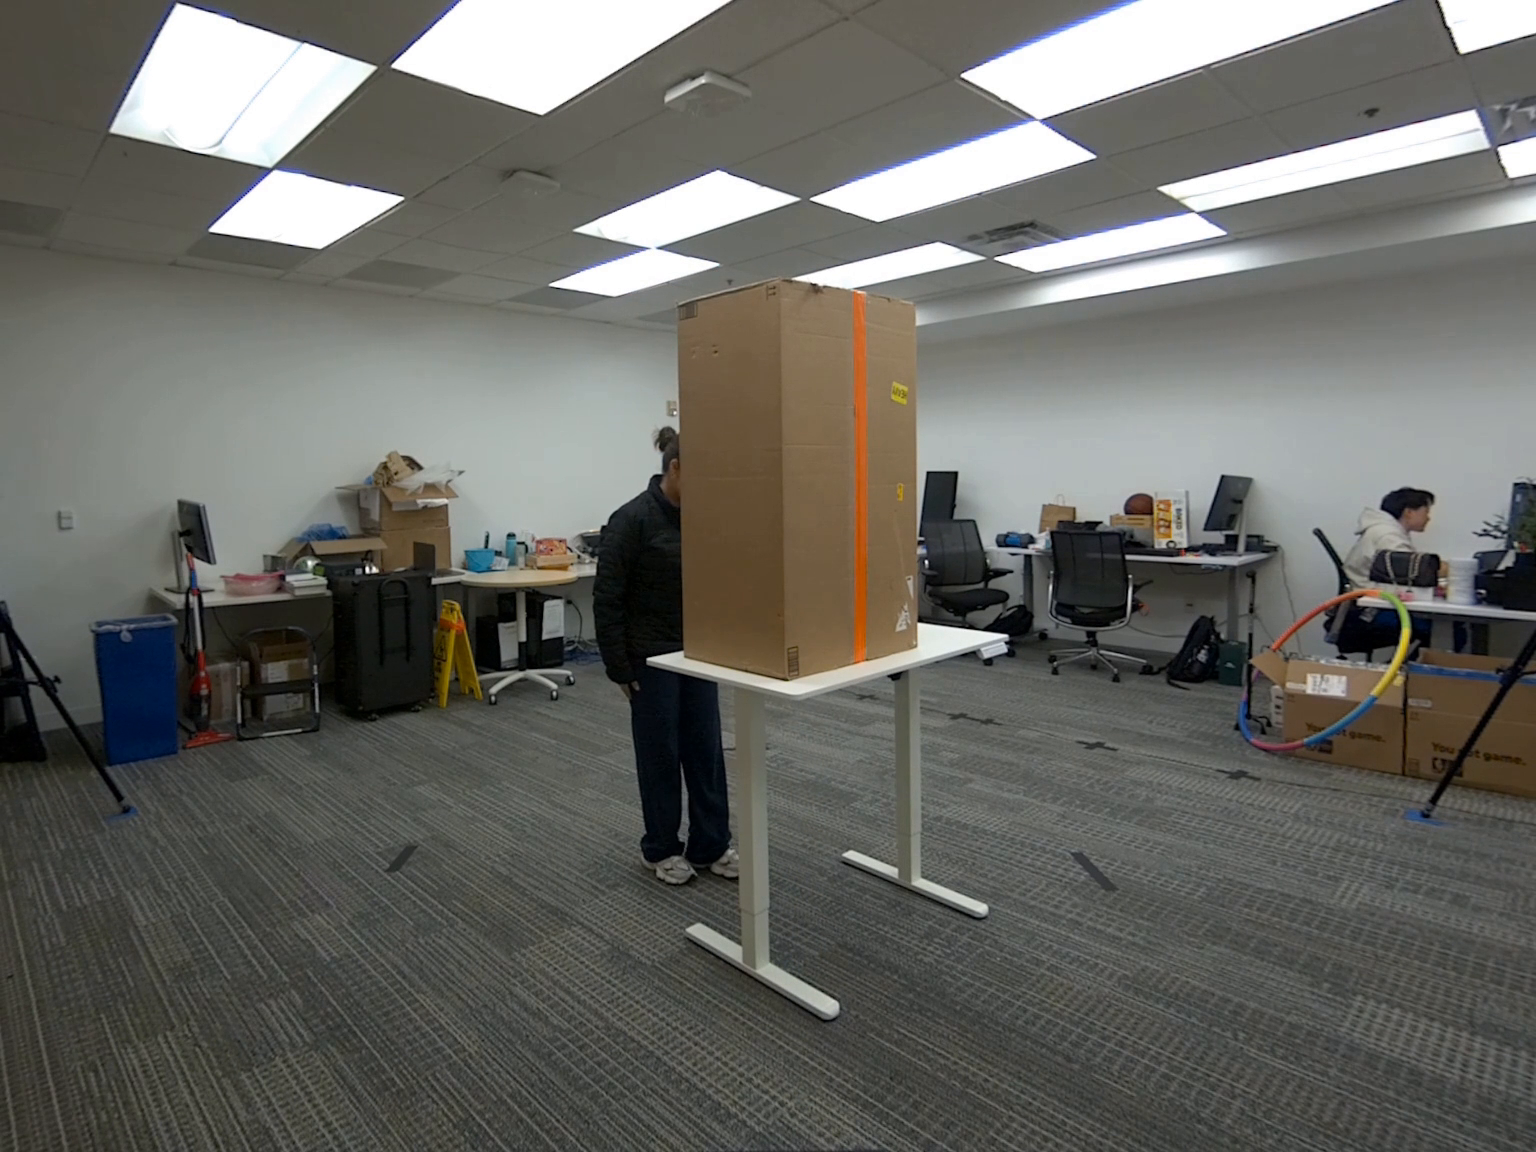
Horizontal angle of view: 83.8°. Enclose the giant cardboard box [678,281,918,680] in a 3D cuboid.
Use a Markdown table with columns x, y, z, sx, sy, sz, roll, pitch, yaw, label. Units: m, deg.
| x | y | z | sx | sy | sz | roll | pitch | yaw | label |
| --- | --- | --- | --- | --- | --- | --- | --- | --- | --- |
| 0.096 | -0.281 | 2.509 | 0.569 | 1.023 | 0.461 | -5 | 6 | -42 | giant cardboard box |
